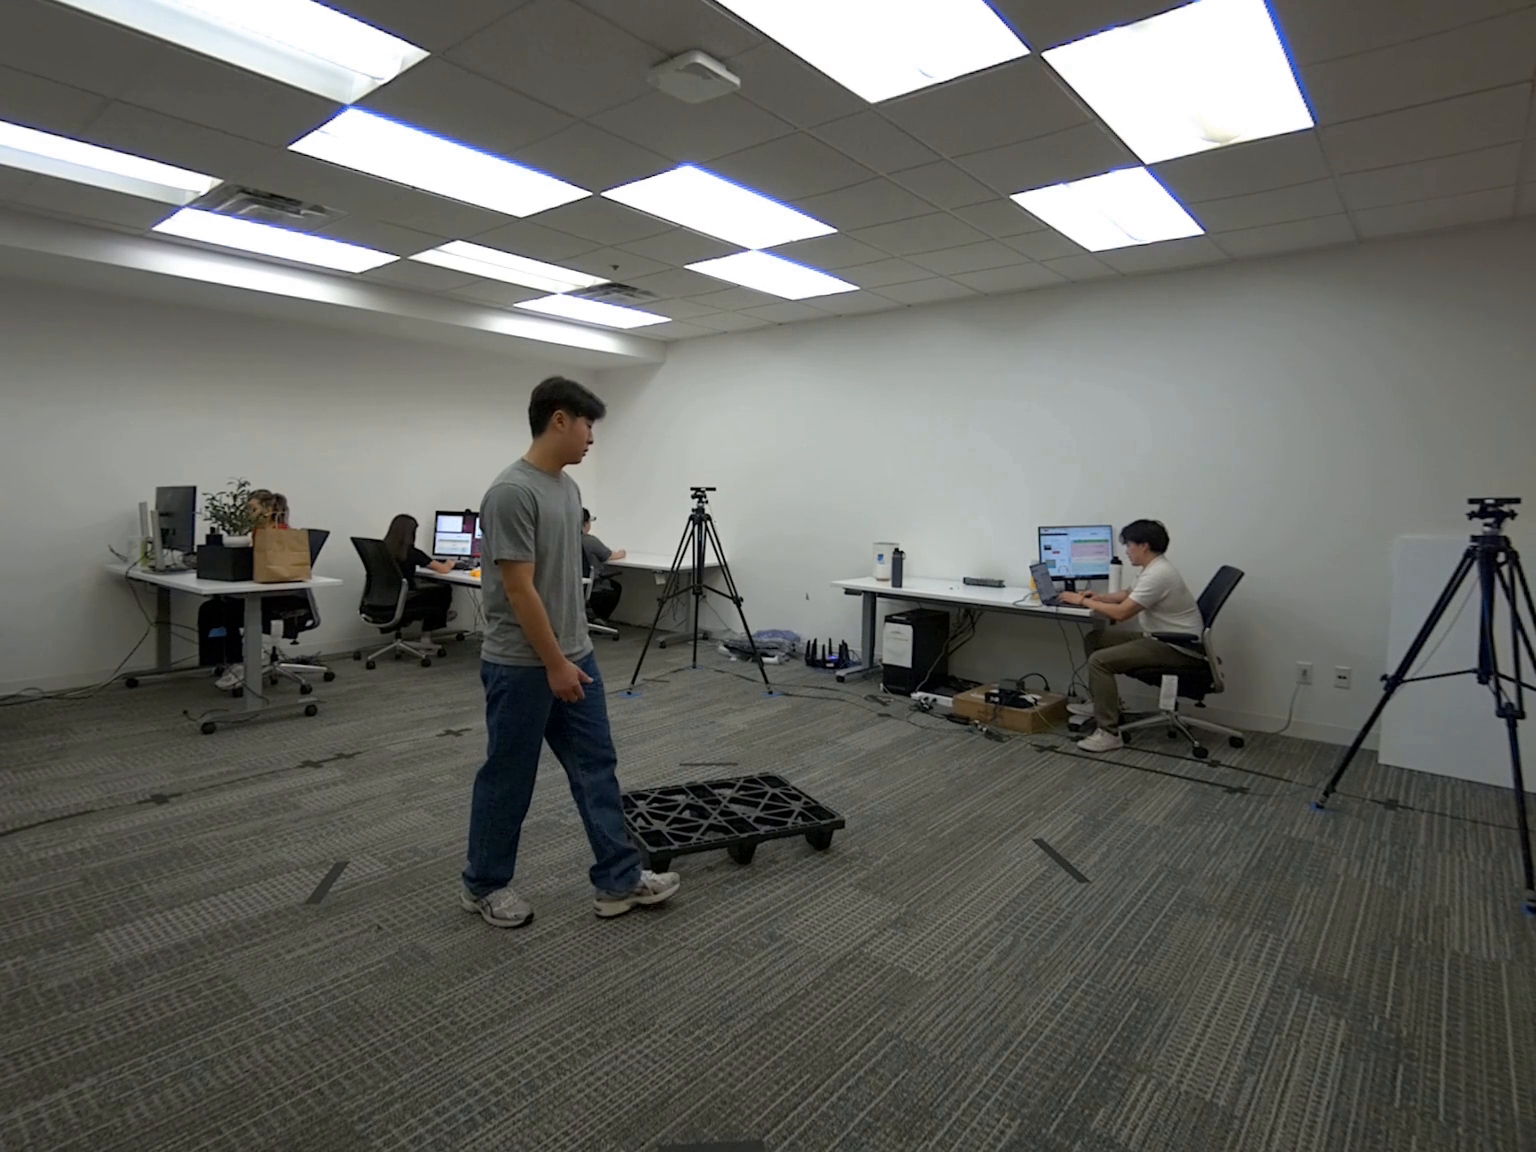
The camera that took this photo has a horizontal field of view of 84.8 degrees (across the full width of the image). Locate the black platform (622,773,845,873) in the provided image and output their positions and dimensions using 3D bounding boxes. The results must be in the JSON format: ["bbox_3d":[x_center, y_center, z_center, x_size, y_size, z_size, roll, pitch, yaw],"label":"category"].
[{"bbox_3d":[-0.194,0.973,3.361,0.787,0.143,0.622,-2,7,-25],"label":"black platform"}]
